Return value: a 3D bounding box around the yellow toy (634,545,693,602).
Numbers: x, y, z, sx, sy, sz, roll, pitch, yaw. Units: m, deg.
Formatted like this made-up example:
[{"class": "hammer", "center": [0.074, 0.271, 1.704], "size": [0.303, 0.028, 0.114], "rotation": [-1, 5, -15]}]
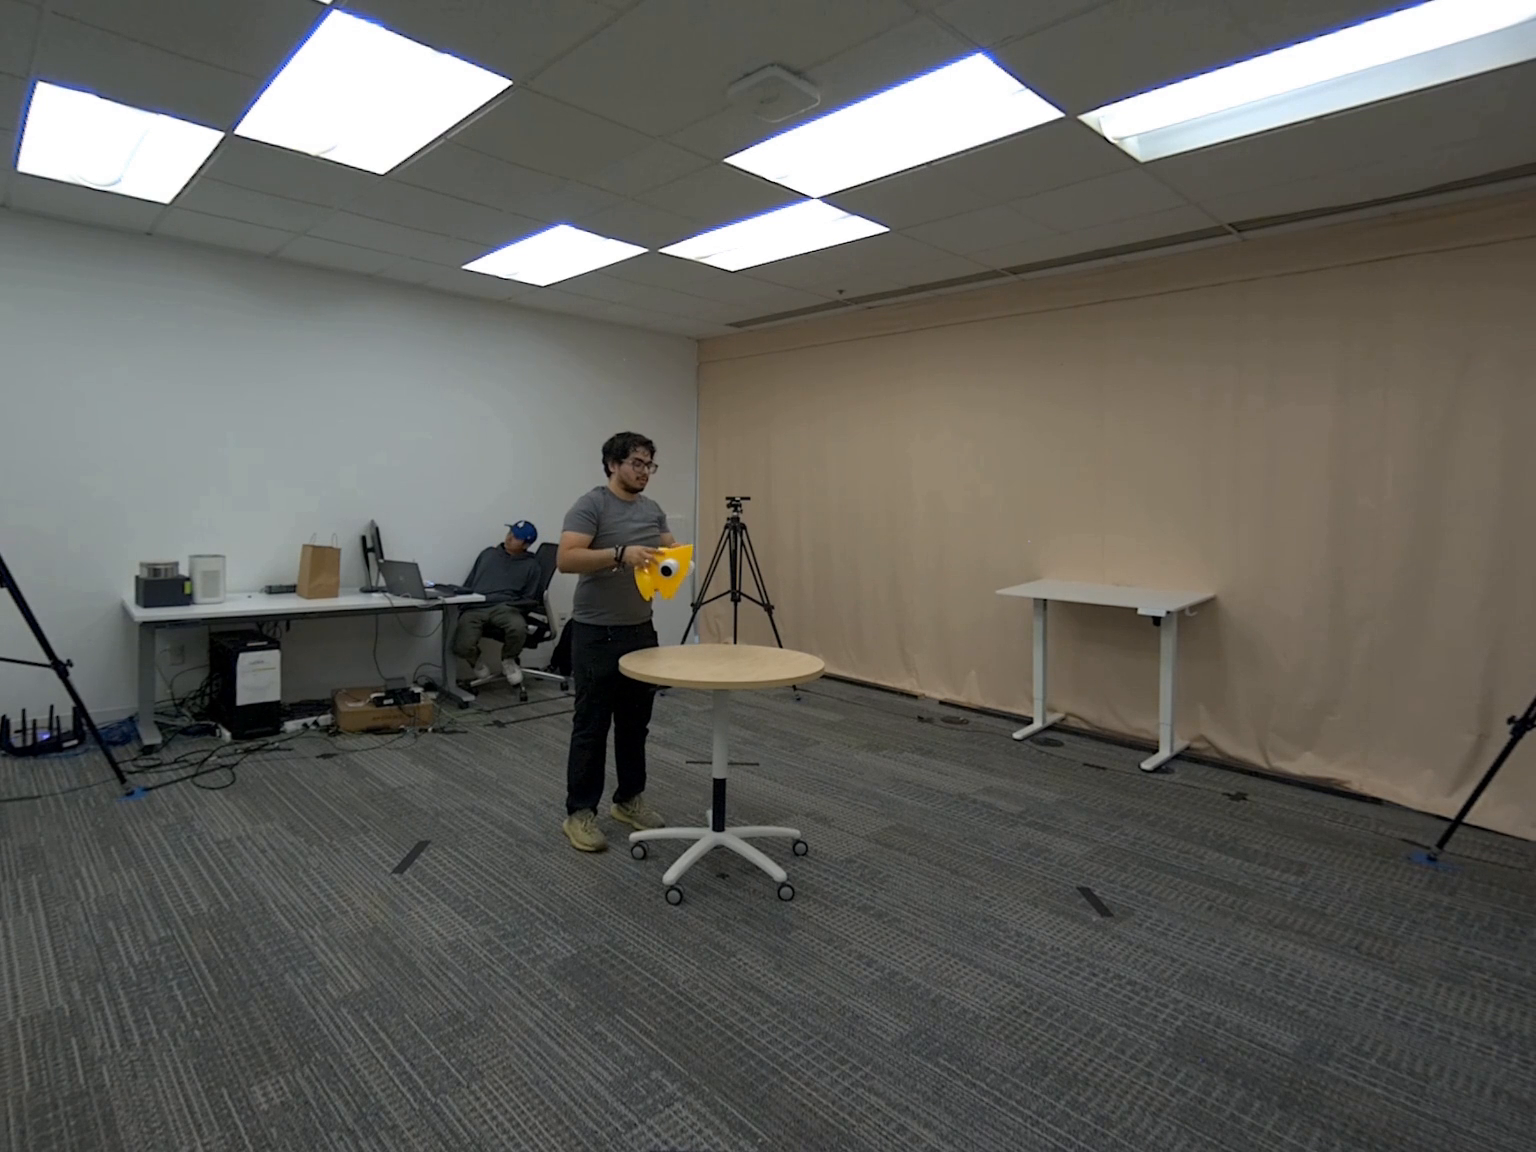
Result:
[{"class": "yellow toy", "center": [-0.374, -0.027, 3.214], "size": [0.233, 0.195, 0.200], "rotation": [-23, -14, 36]}]
